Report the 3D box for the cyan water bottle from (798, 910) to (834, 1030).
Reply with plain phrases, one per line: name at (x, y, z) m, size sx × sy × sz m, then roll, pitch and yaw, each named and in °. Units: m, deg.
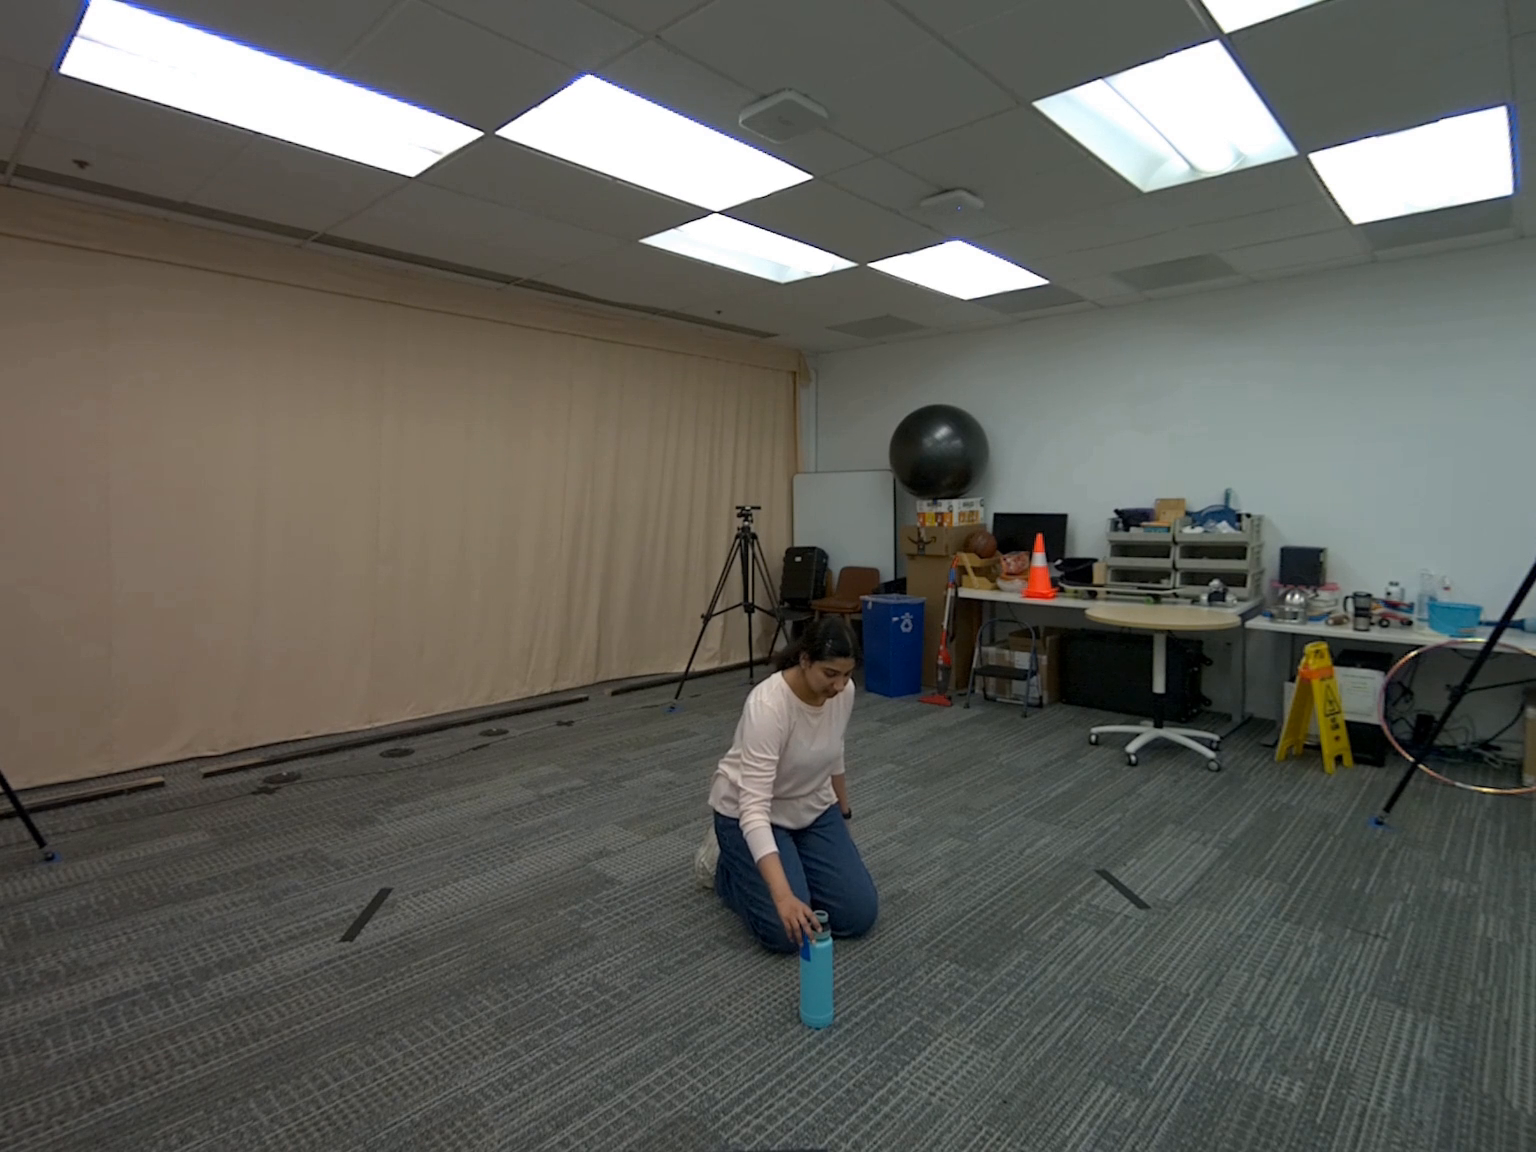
cyan water bottle at (0.135, 1.052, 2.284) m, size 0.092 × 0.283 × 0.092 m, roll 2°, pitch 1°, yaw -2°
